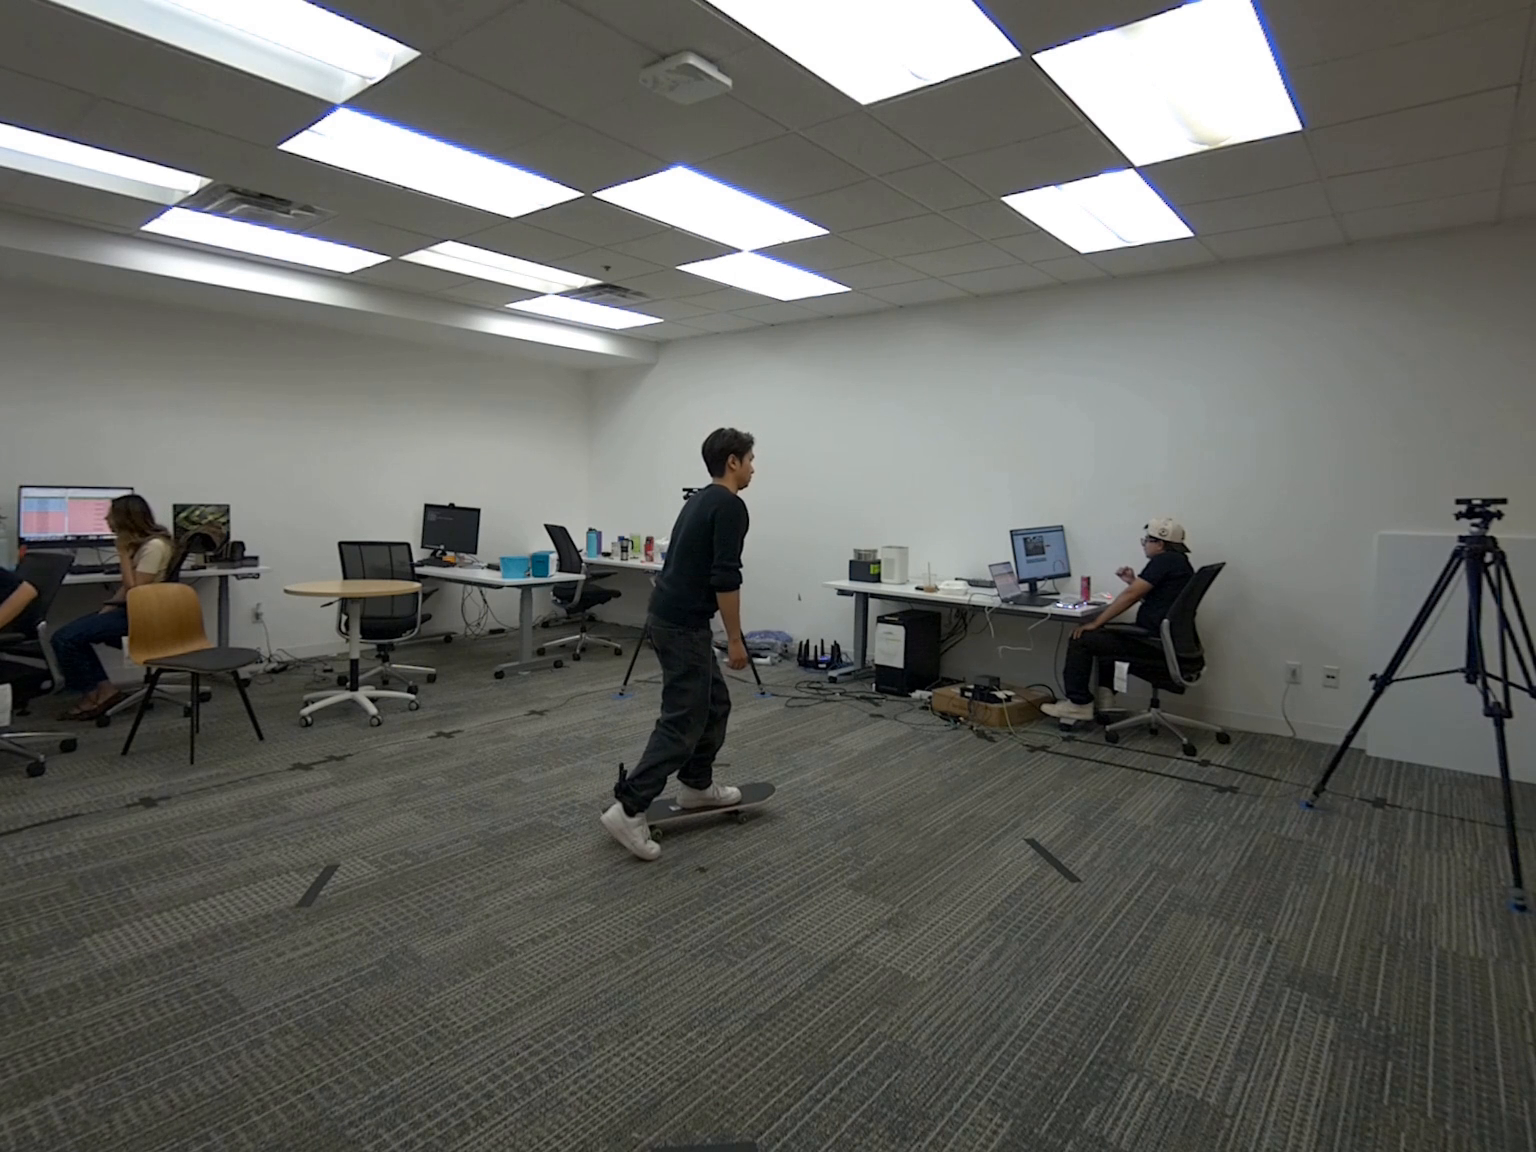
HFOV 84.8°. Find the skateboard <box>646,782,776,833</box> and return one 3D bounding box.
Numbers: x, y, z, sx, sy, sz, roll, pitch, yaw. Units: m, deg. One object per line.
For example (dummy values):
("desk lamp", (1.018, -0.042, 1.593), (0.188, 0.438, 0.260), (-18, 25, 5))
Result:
("skateboard", (-0.326, 0.972, 3.525), (0.766, 0.110, 0.199), (-3, 7, -28))
